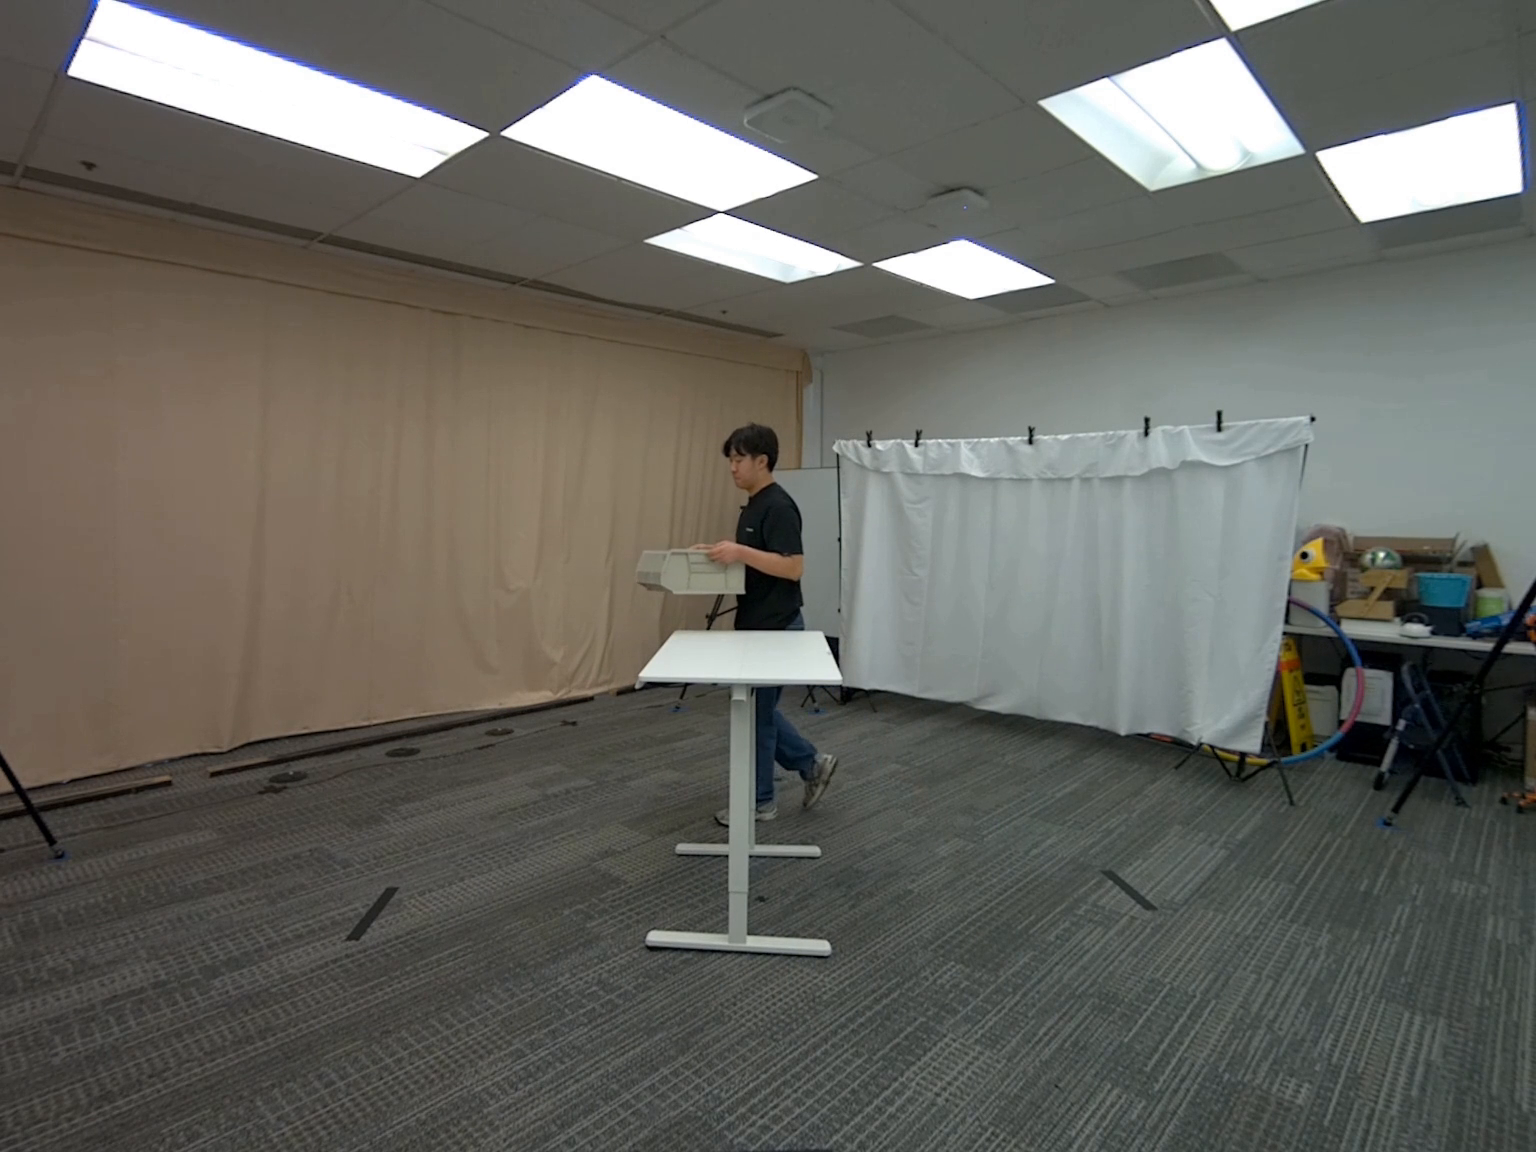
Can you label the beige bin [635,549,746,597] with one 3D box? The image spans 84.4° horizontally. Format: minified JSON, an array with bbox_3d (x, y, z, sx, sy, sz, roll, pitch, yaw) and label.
[{"bbox_3d":[-0.328,-0.019,3.607,0.370,0.189,0.430,1,-1,-20],"label":"beige bin"}]
